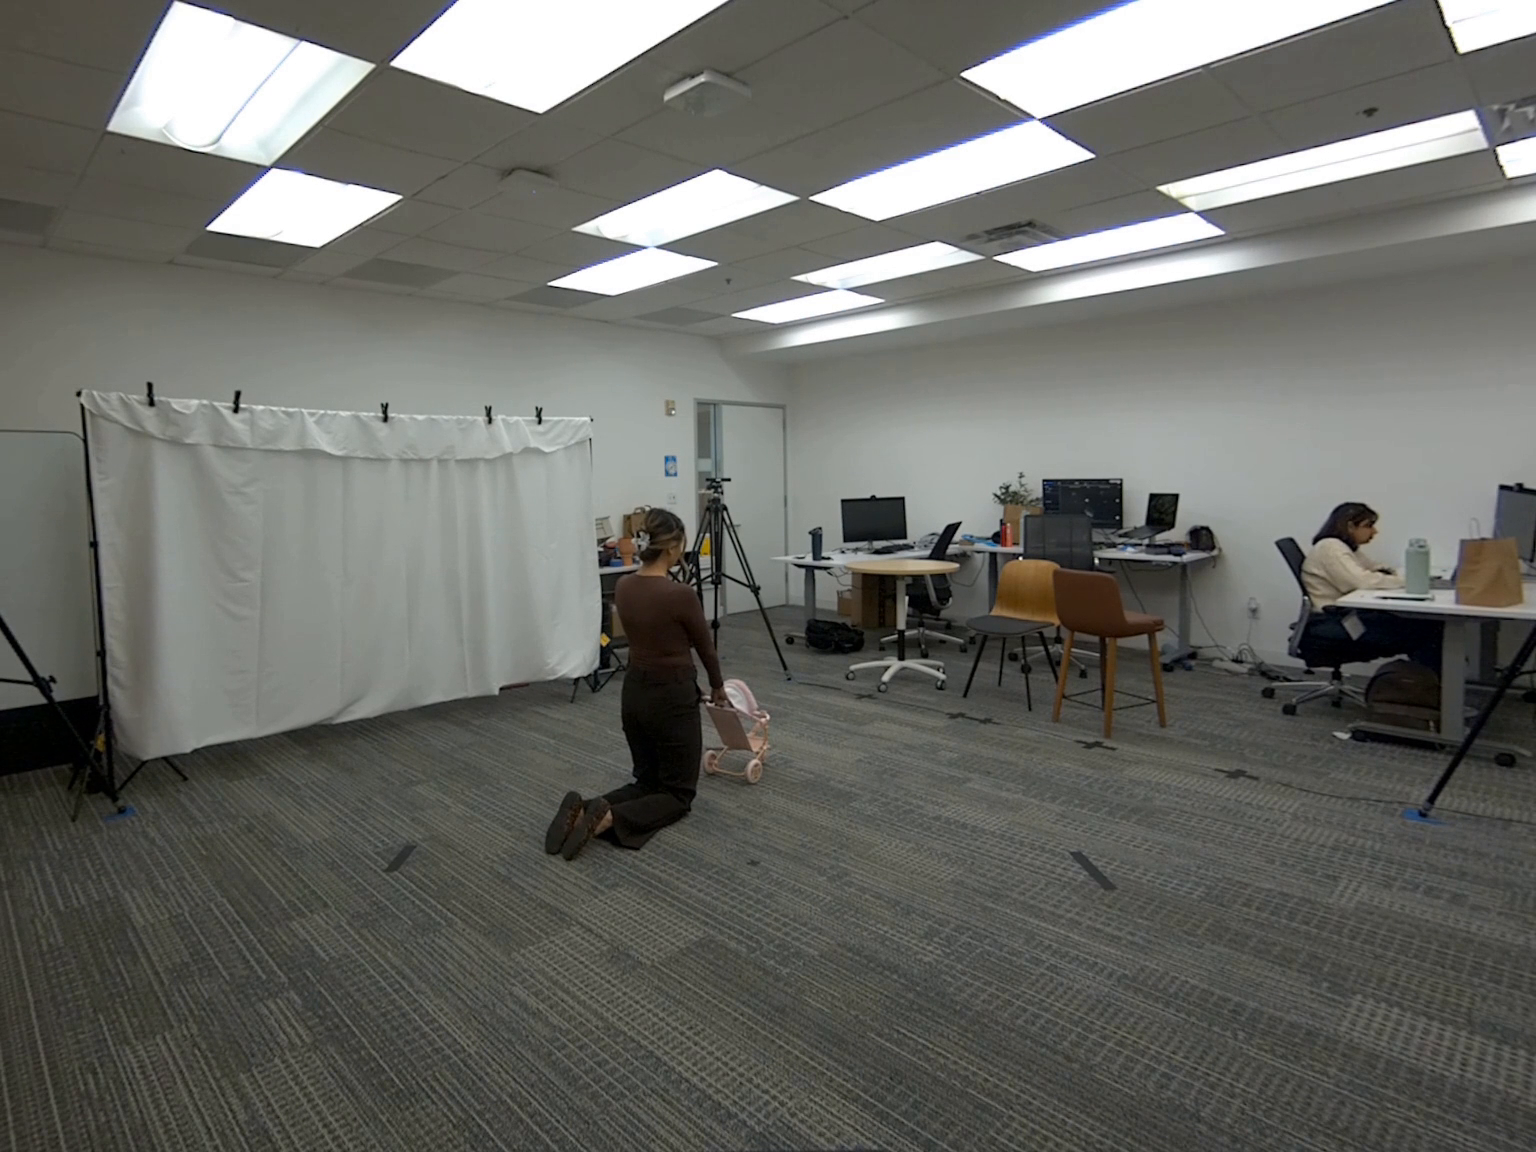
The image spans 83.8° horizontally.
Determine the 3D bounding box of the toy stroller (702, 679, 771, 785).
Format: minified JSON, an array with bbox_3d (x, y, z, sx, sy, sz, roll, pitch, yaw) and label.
[{"bbox_3d":[-0.136,0.717,4.029,0.290,0.525,0.337,3,23,39],"label":"toy stroller"}]
